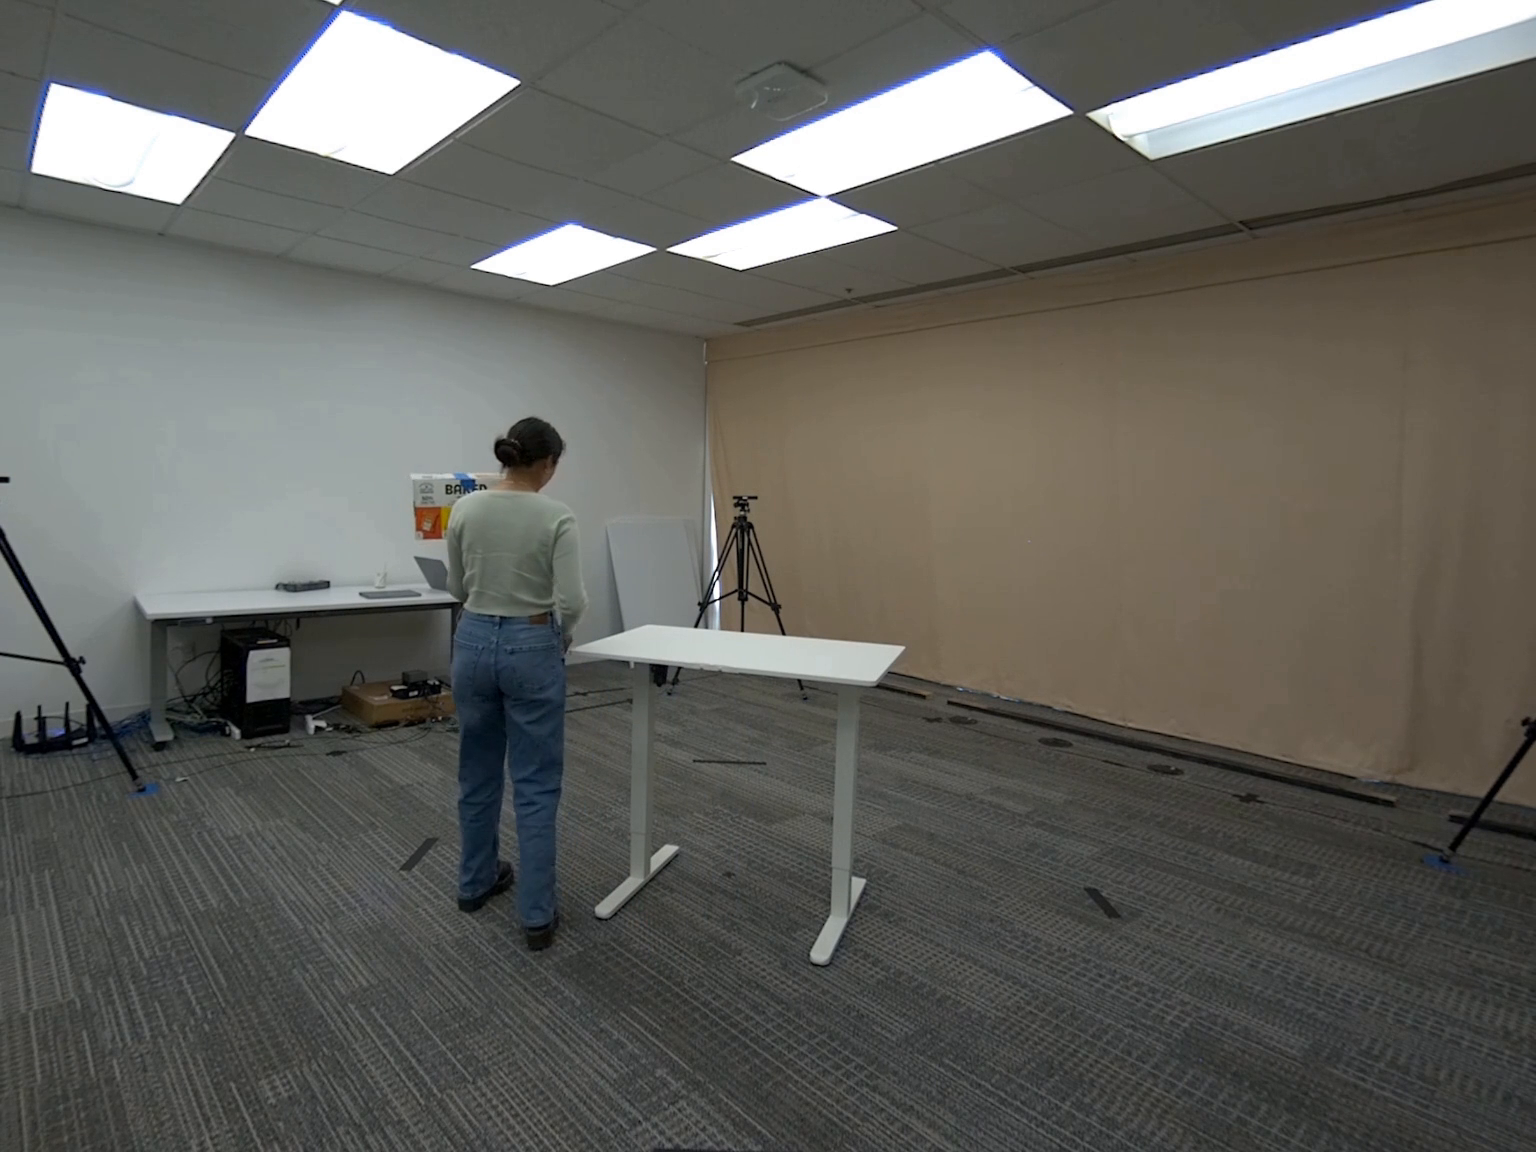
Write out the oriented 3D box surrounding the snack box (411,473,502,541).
[{"bbox_3d":[-1.104,-0.254,3.018,0.335,0.204,0.414,-2,9,-23],"label":"snack box"}]
